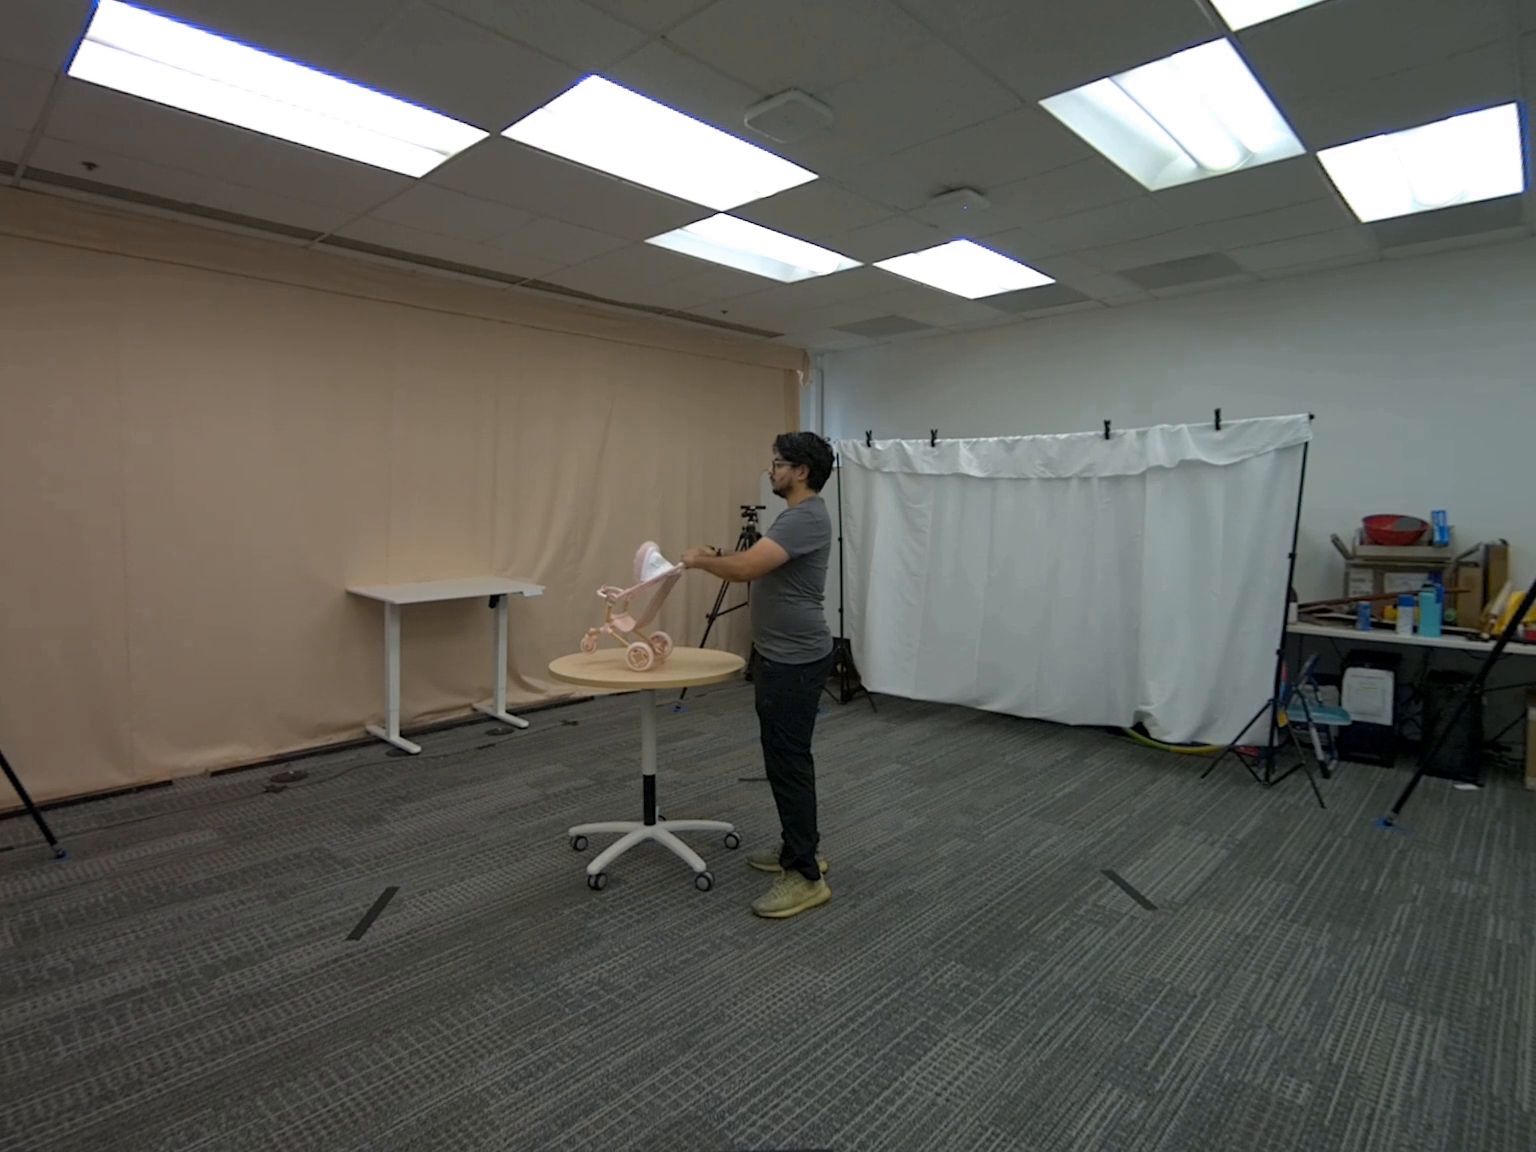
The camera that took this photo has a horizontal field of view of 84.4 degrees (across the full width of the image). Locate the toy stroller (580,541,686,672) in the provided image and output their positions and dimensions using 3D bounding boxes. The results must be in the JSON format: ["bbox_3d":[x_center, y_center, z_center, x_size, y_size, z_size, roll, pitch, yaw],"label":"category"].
[{"bbox_3d":[-0.494,0.110,3.225,0.348,0.534,0.277,22,8,14],"label":"toy stroller"}]
